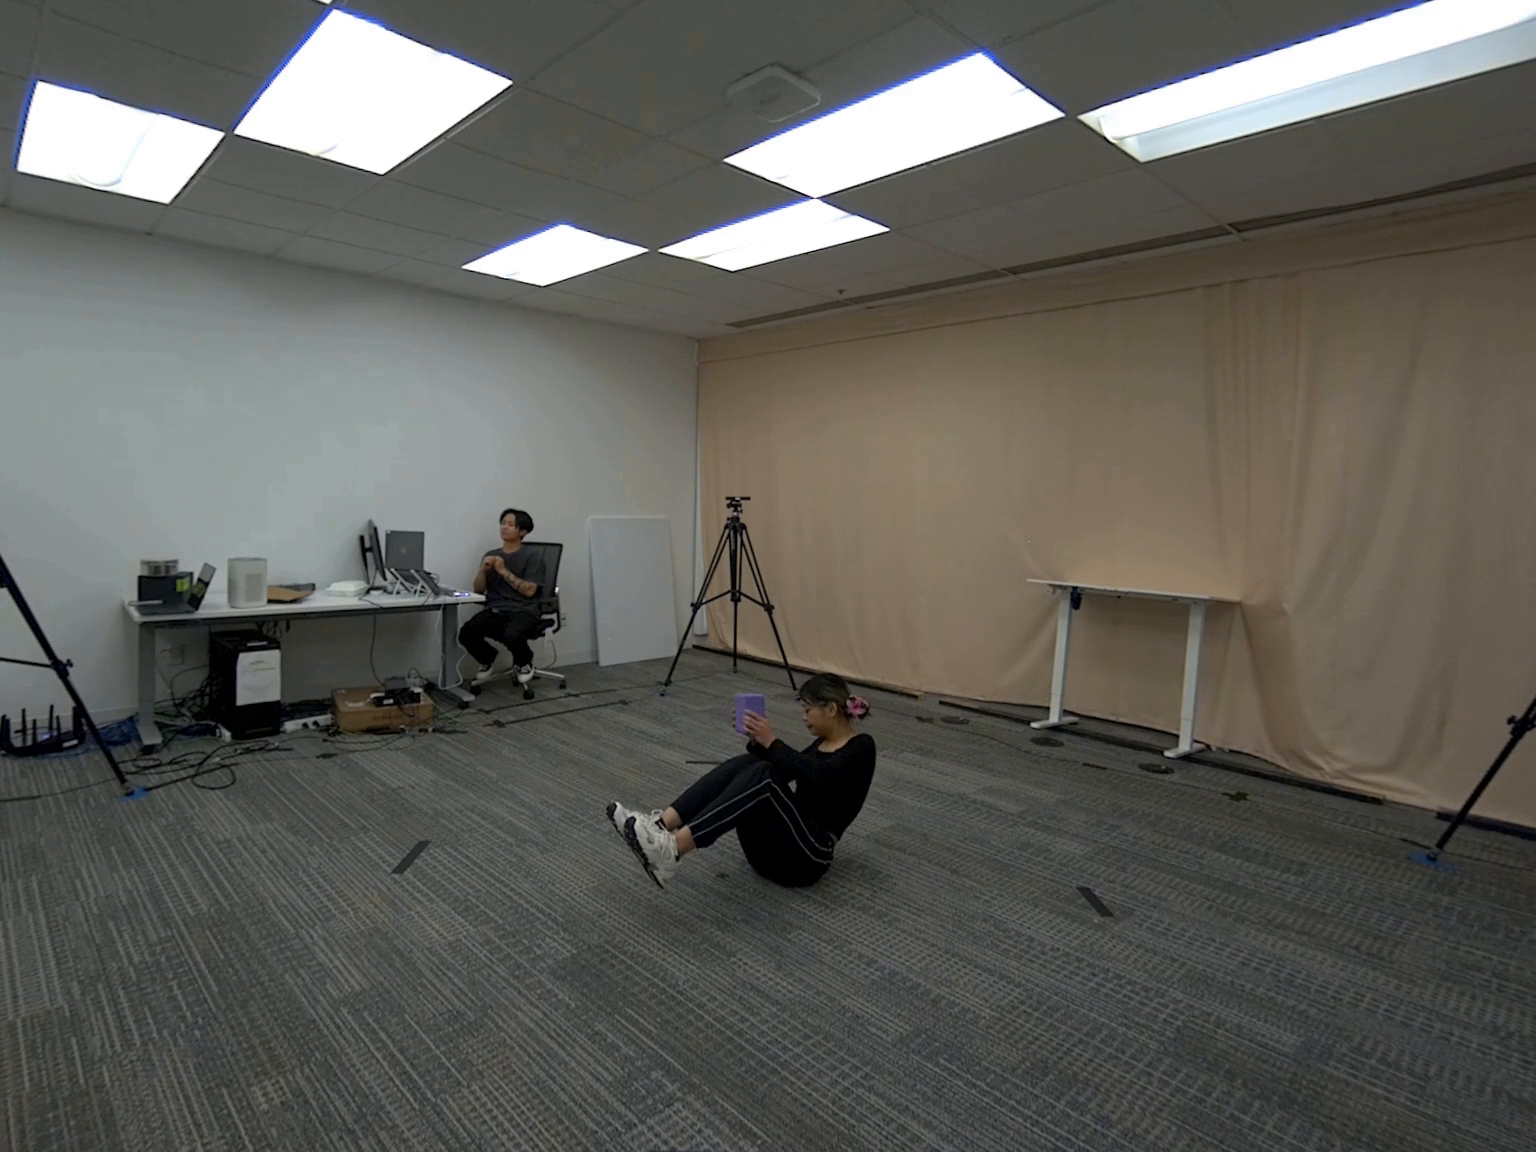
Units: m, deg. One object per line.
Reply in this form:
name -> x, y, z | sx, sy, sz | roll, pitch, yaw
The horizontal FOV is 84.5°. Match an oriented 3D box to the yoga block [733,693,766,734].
yoga block -> -0.059, 0.546, 3.248 | 0.075, 0.150, 0.230 | 2, -7, -15
